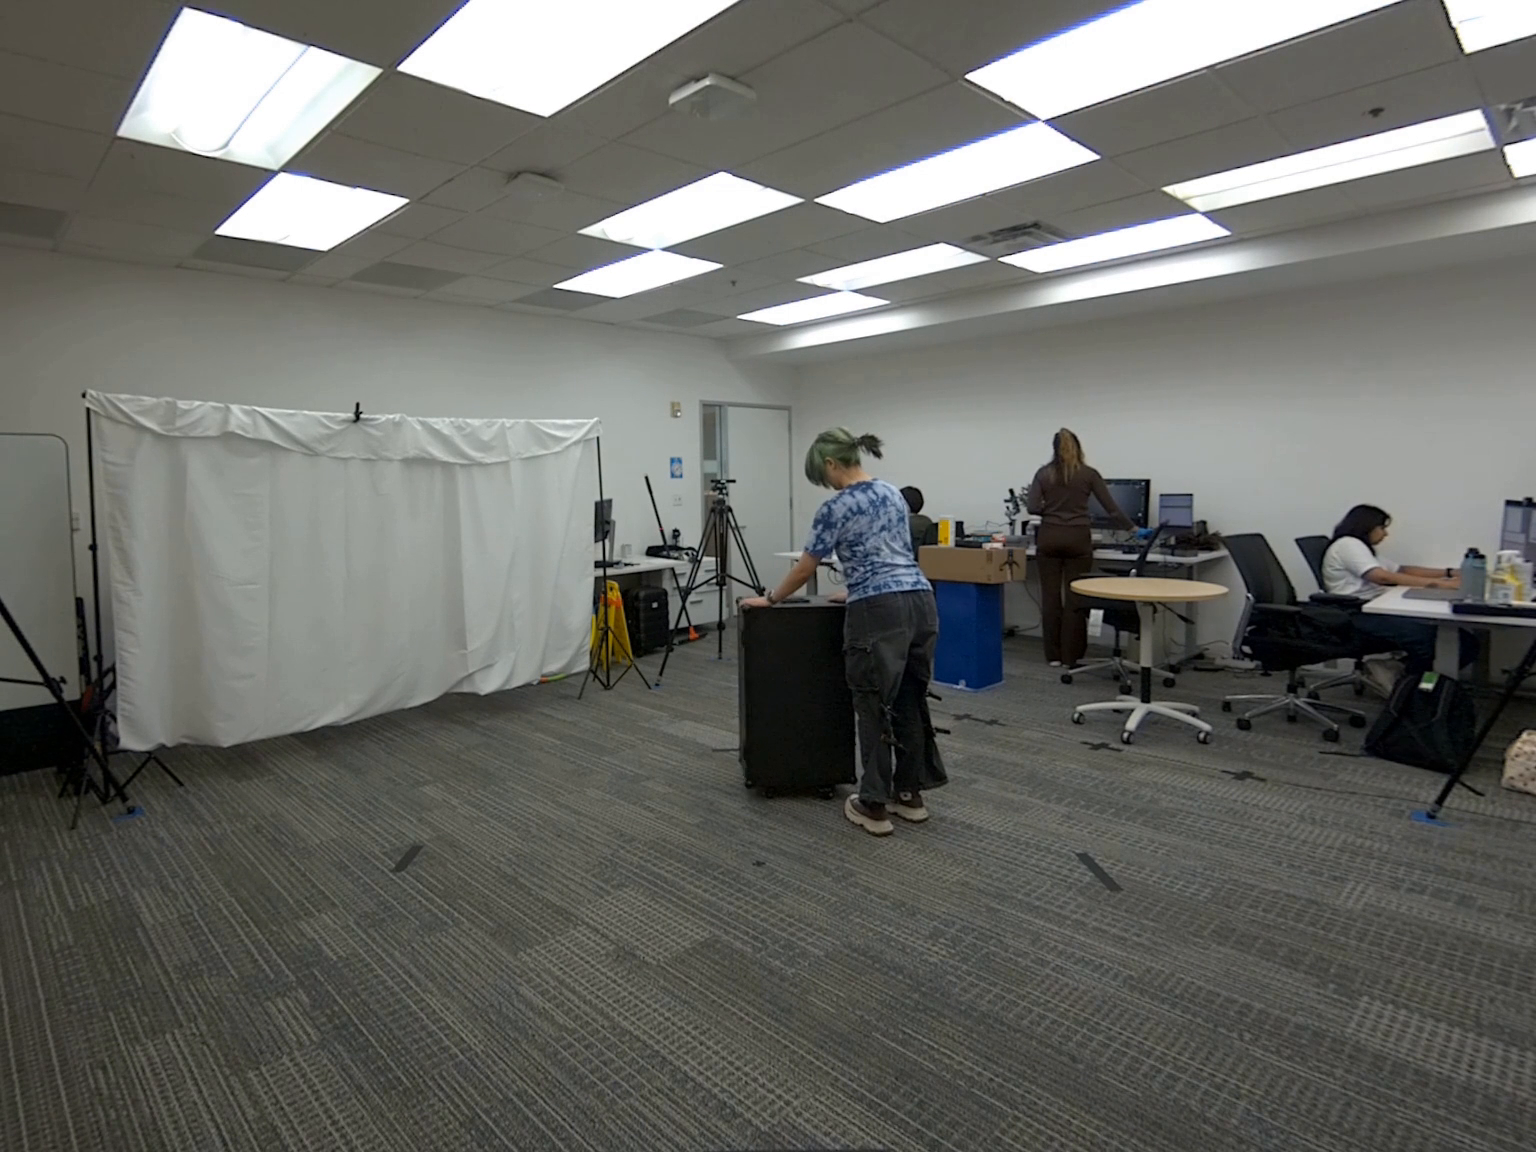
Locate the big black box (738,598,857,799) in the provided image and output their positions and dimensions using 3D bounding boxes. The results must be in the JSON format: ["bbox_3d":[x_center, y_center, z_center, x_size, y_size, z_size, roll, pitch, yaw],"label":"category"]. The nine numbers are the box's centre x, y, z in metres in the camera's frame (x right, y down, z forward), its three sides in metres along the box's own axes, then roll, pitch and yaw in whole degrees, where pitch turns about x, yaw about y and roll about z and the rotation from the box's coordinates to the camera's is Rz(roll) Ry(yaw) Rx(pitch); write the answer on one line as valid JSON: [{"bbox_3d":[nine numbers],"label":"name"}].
[{"bbox_3d":[0.110,0.536,3.864,0.520,0.859,0.398,-1,3,-3],"label":"big black box"}]
